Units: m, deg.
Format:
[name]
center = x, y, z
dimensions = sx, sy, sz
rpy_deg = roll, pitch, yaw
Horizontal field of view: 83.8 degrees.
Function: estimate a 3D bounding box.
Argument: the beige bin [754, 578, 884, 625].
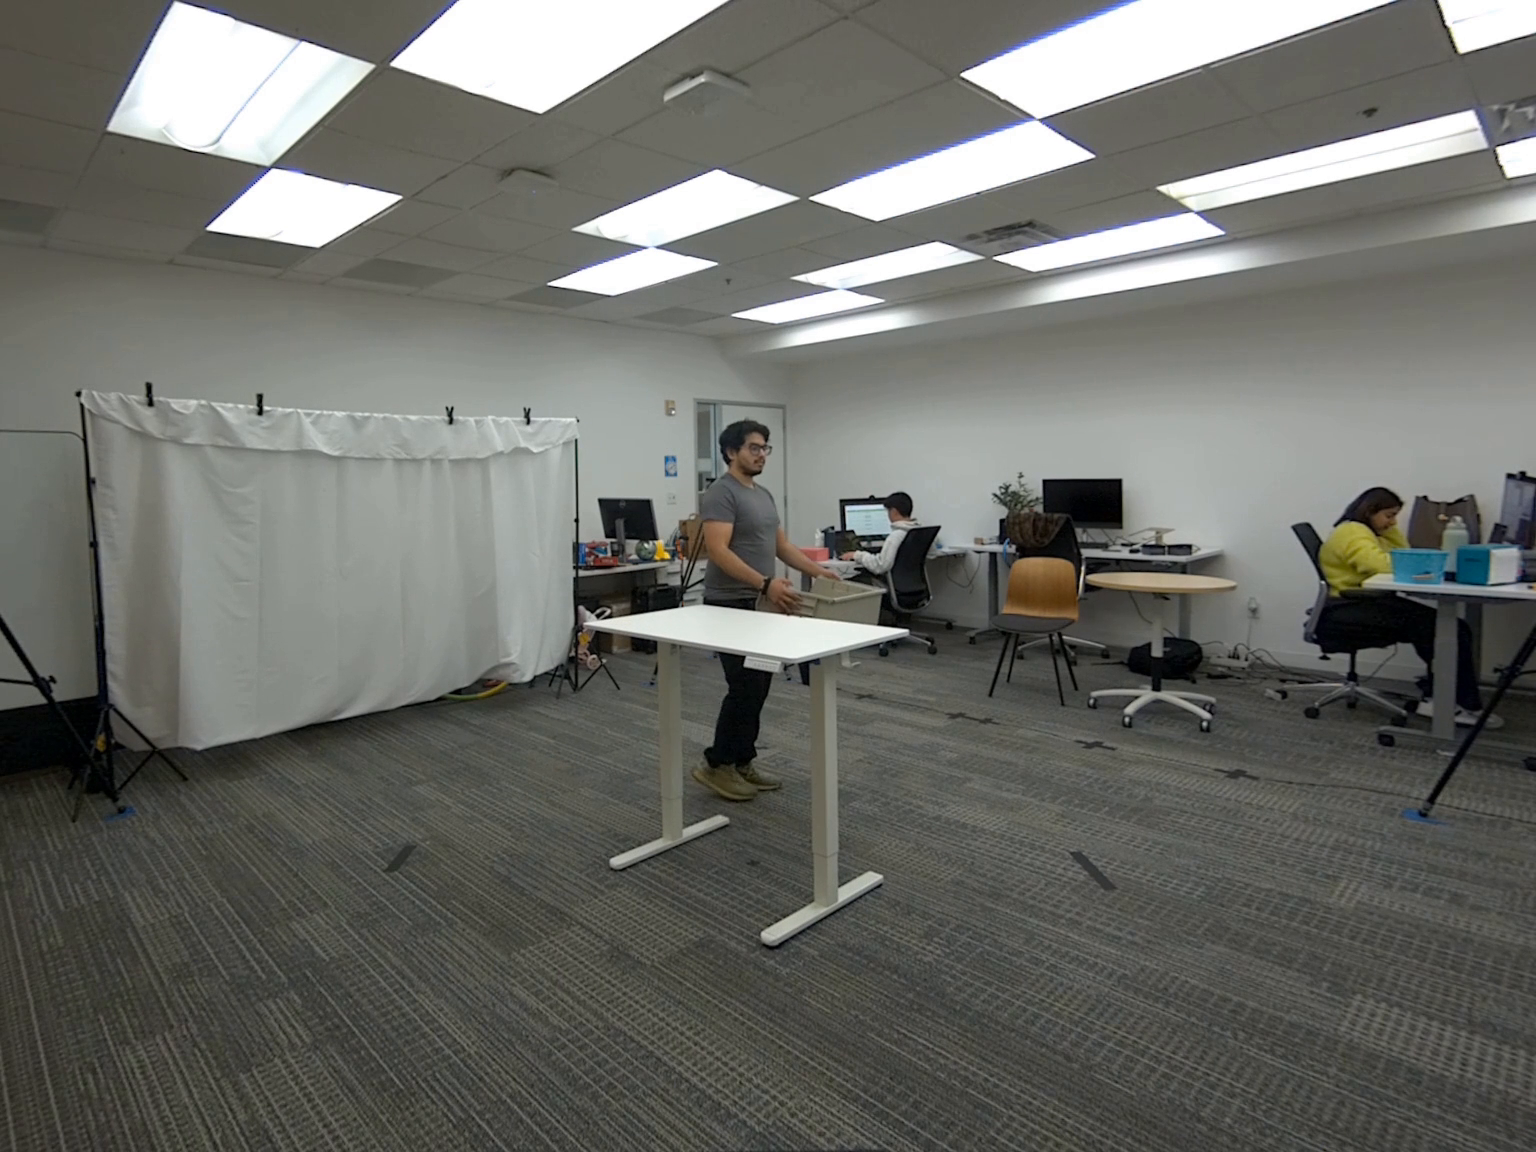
[beige bin]
center = 0.209, 0.129, 3.610
dimensions = 0.390, 0.187, 0.411
rpy_deg = 14, 12, 36
